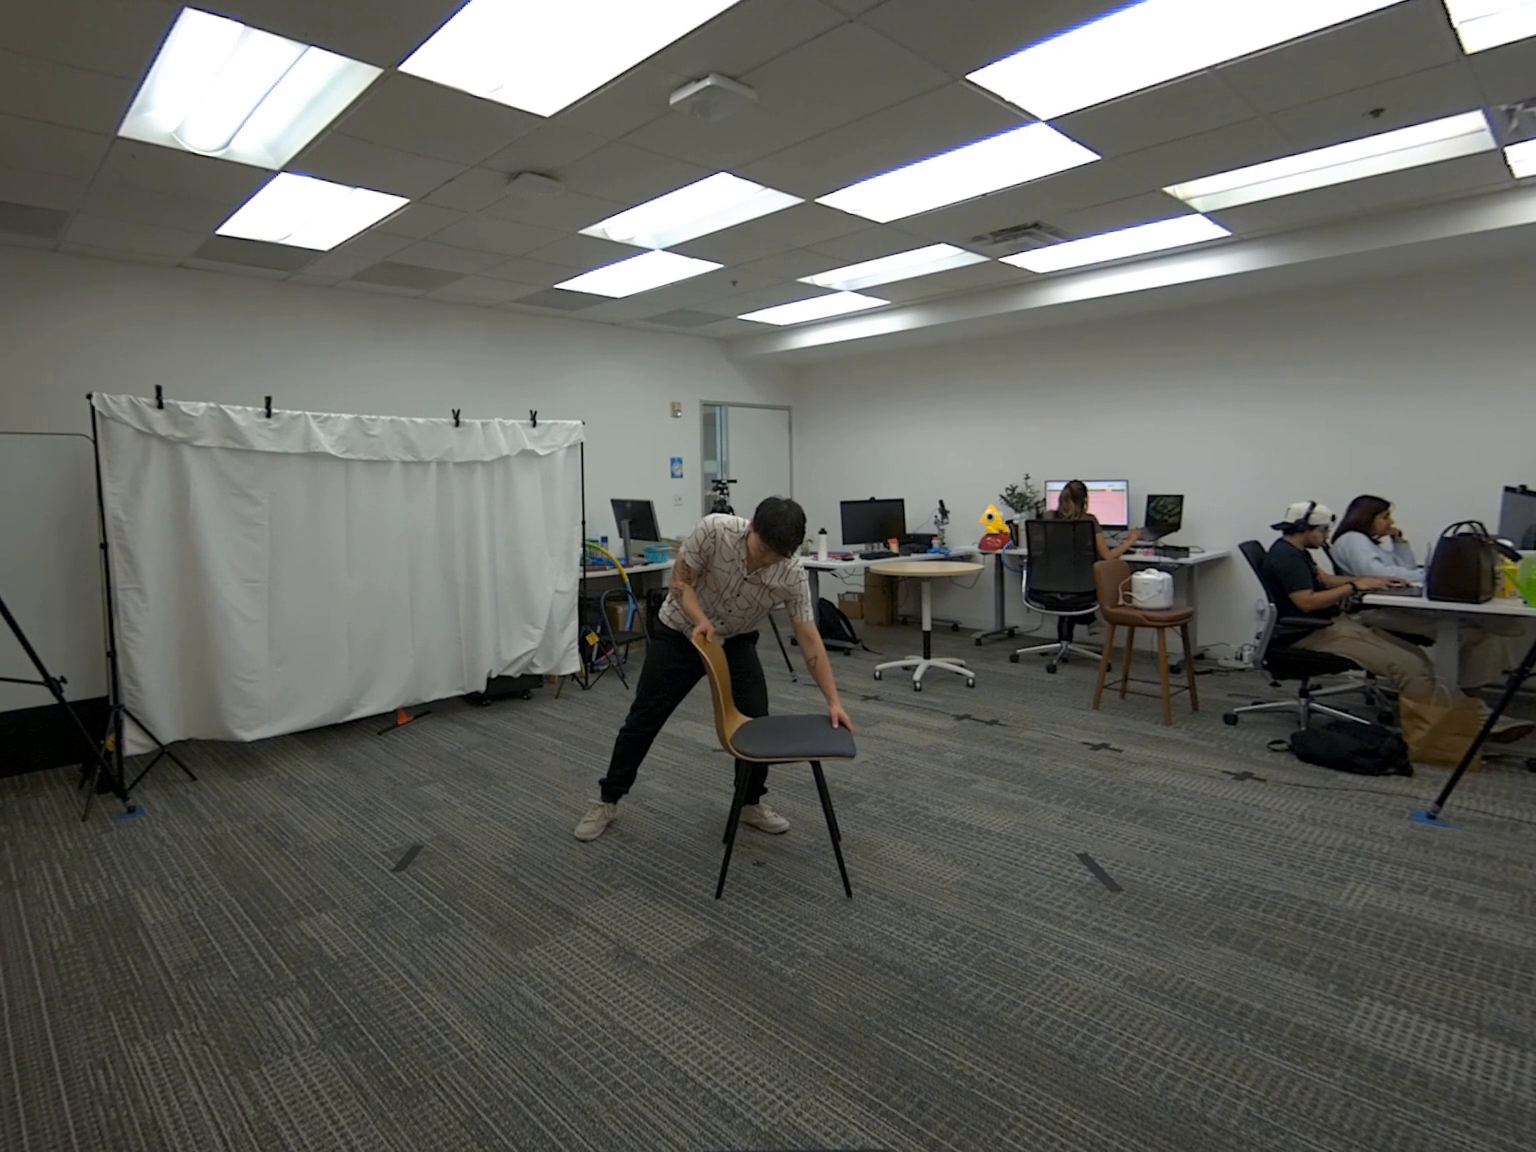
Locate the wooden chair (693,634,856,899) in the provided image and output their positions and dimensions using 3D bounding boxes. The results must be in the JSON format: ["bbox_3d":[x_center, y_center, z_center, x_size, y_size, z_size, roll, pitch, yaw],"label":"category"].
[{"bbox_3d":[0.041,0.623,3.030,0.523,0.874,0.479,-6,3,0],"label":"wooden chair"}]
